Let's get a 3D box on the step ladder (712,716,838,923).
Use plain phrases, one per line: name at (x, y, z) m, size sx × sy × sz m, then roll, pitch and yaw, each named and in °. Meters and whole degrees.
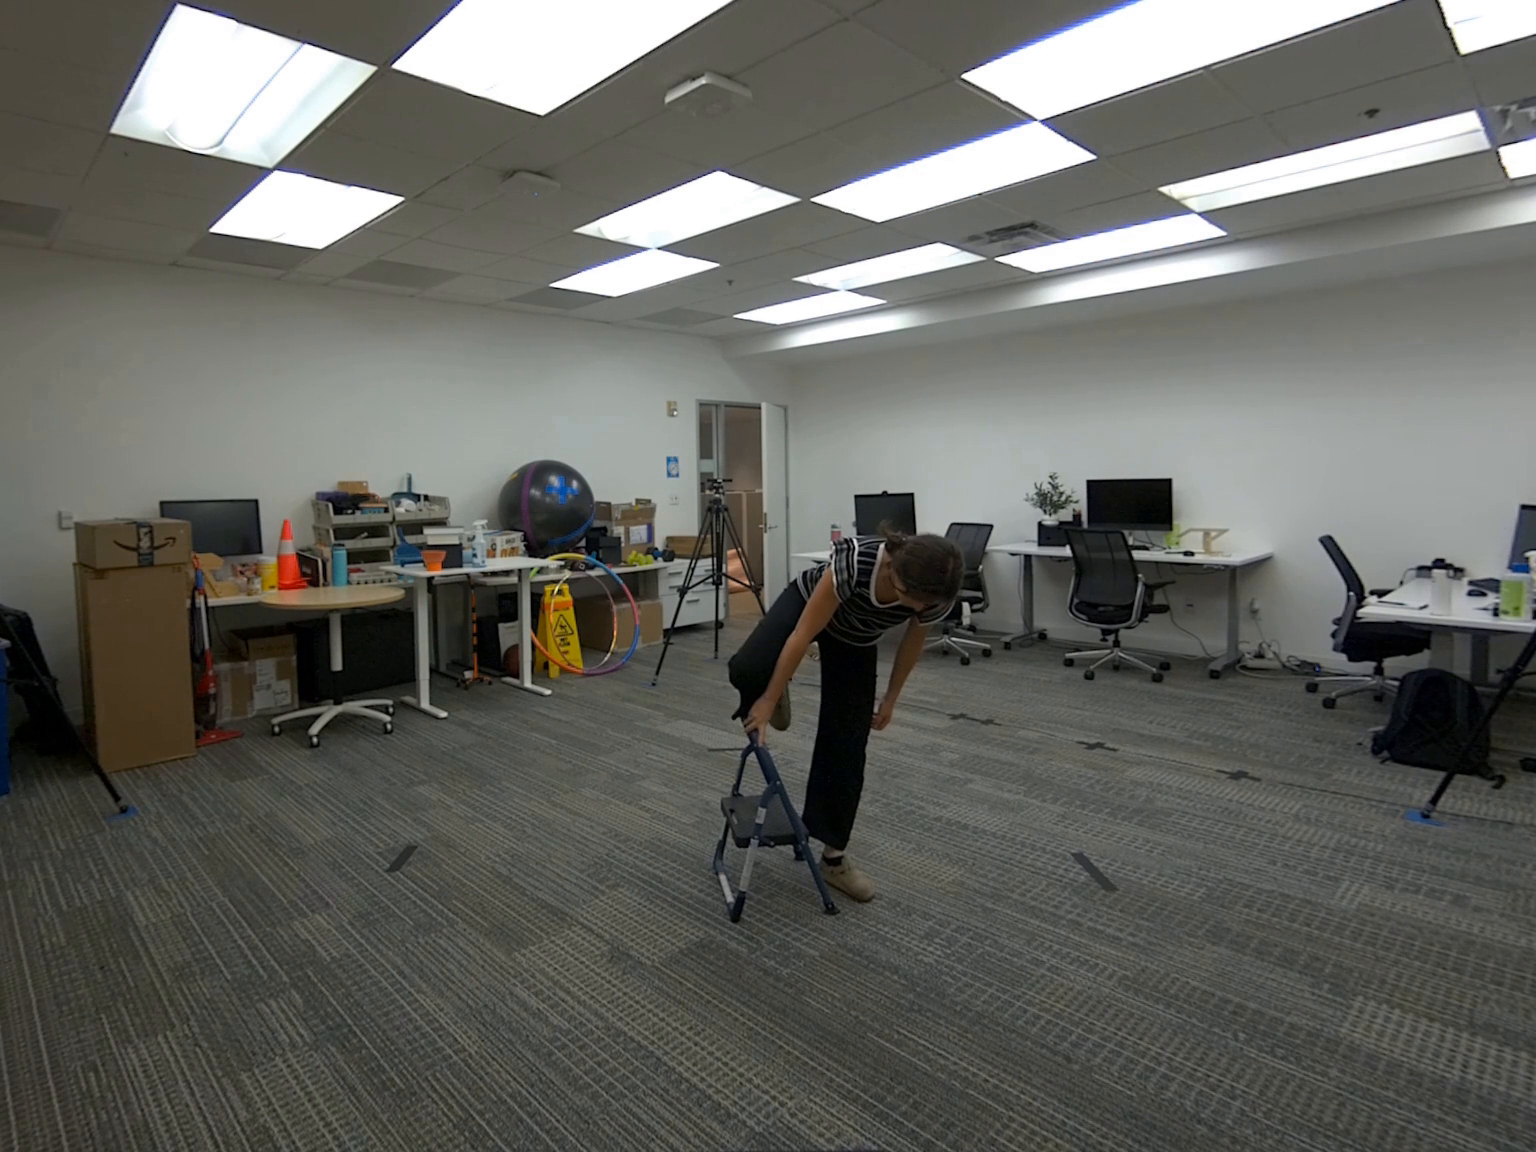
step ladder at (0.008, 0.768, 2.897) m, size 0.346 × 0.604 × 0.437 m, roll -1°, pitch 5°, yaw -11°
